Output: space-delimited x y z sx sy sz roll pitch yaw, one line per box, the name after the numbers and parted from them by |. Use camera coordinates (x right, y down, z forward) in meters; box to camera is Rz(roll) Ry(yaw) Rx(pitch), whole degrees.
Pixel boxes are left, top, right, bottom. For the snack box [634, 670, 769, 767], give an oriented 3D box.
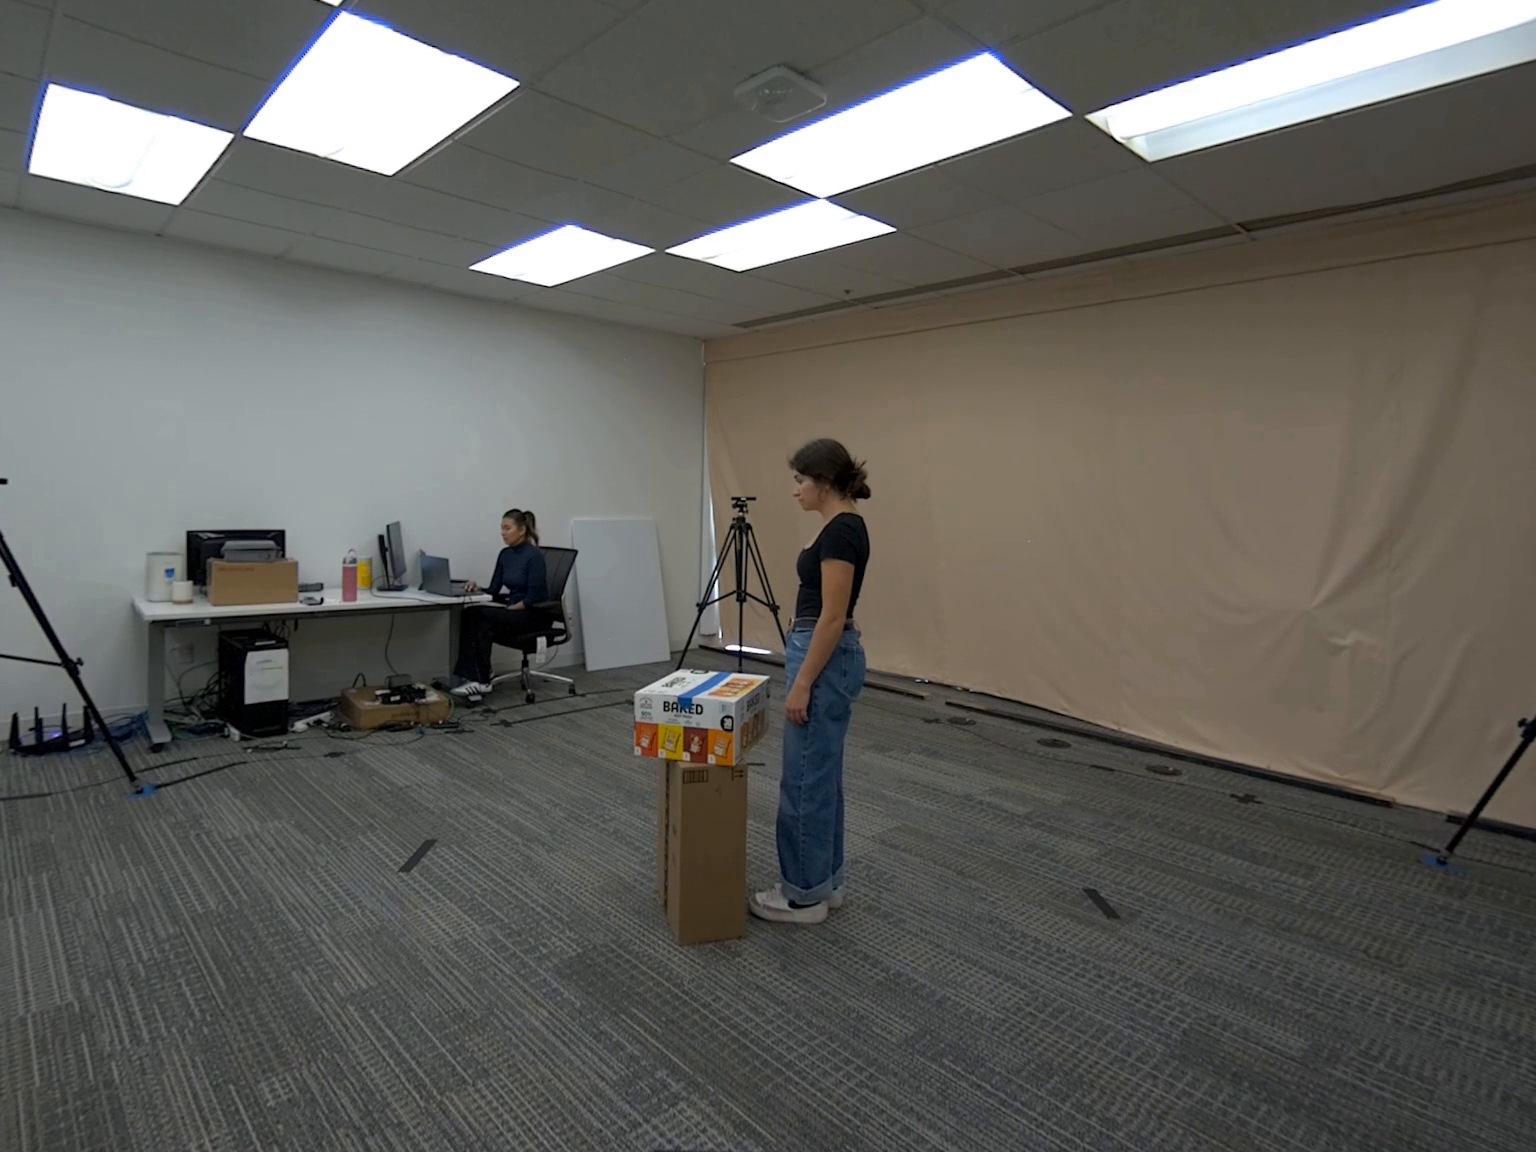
-0.212 0.462 2.821 0.345 0.205 0.400 2 5 17 | snack box
